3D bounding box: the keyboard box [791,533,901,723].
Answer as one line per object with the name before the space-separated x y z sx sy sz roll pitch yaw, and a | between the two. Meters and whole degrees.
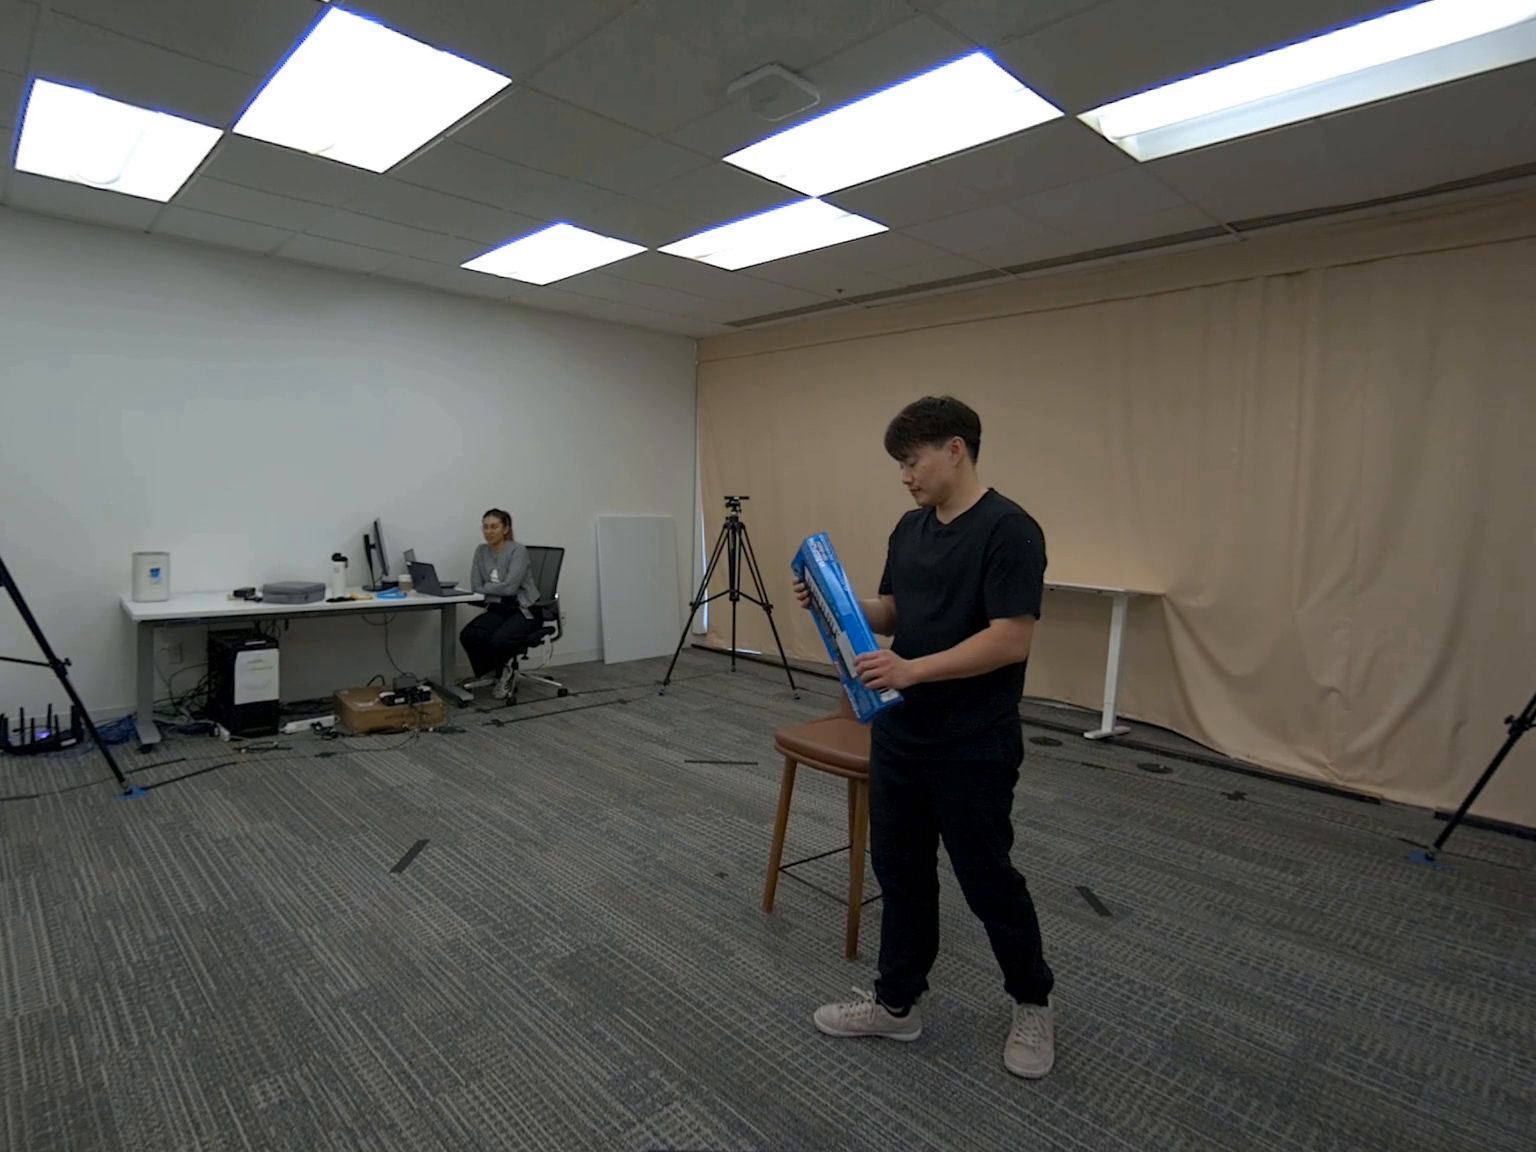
keyboard box | 0.182 0.127 2.035 0.058 0.444 0.174 -17 -18 -17
